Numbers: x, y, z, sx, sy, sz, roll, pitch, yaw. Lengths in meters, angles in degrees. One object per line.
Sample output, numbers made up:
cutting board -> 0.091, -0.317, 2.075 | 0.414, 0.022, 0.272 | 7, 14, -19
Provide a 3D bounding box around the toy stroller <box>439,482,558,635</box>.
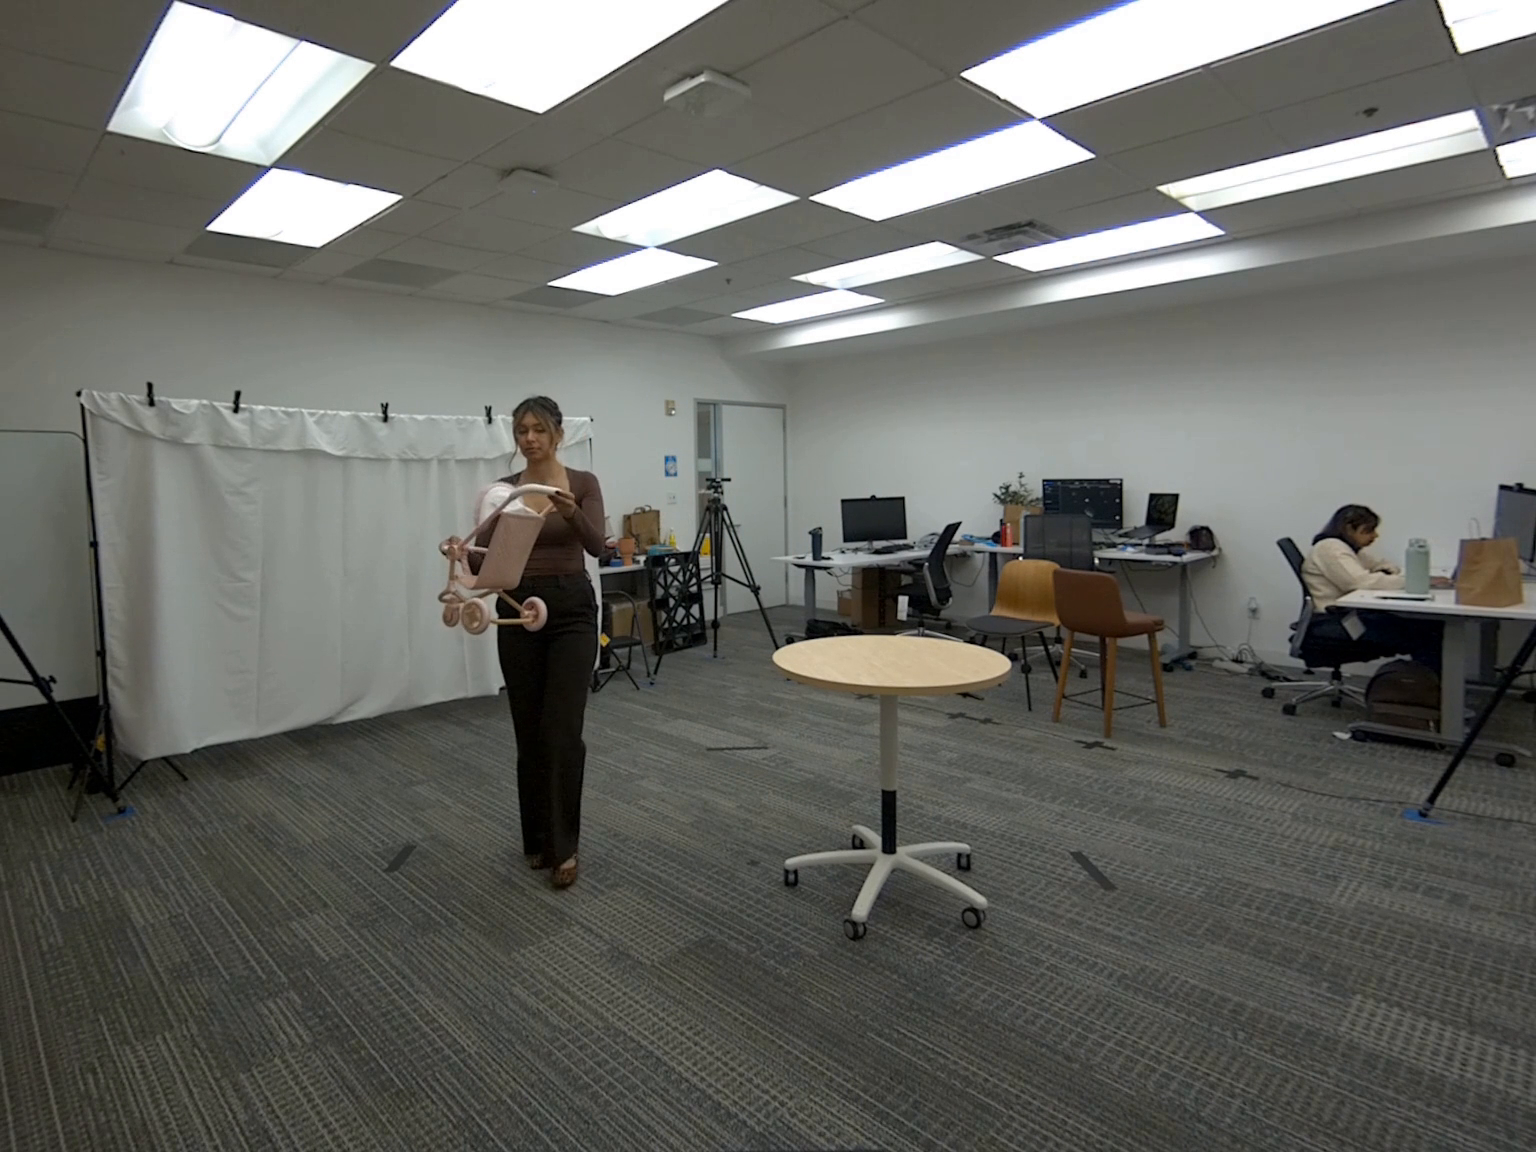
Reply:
toy stroller -> -0.868, -0.053, 2.708 | 0.353, 0.533, 0.273 | 17, 7, 34
